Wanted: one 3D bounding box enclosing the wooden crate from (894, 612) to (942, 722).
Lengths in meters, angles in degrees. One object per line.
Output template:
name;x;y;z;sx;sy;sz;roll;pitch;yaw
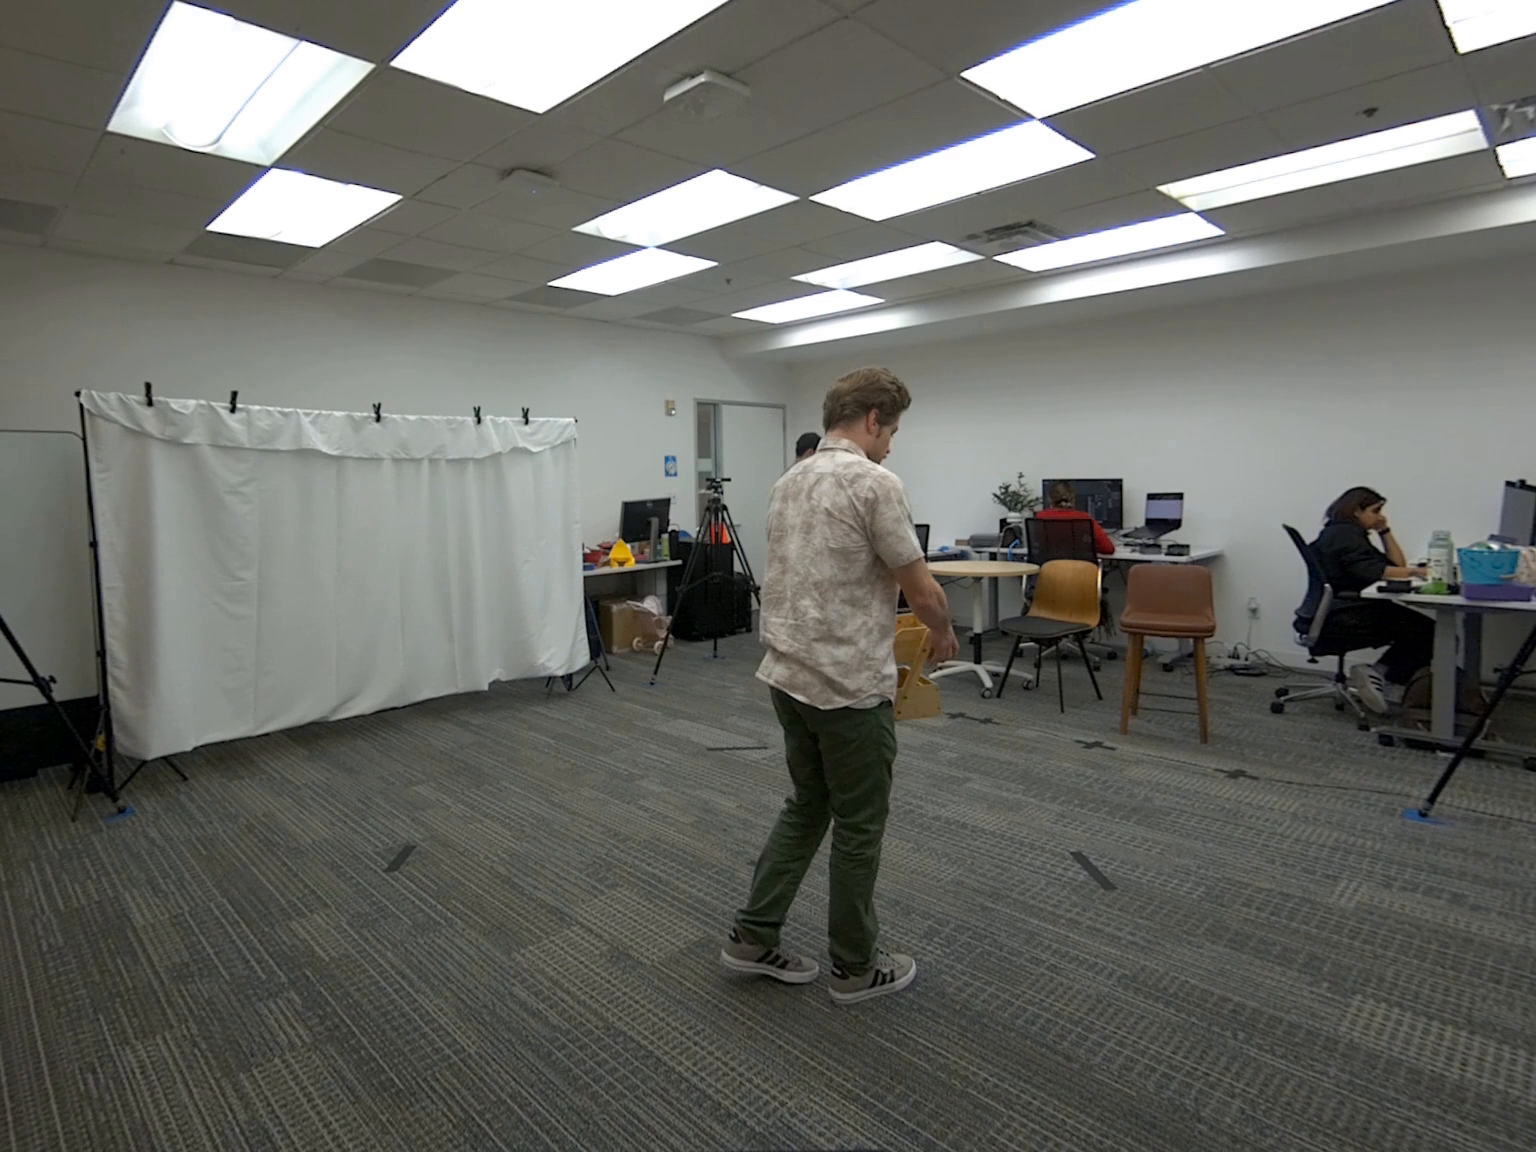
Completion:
wooden crate;0.373;0.276;2.606;0.301;0.272;0.327;-8;4;-6
